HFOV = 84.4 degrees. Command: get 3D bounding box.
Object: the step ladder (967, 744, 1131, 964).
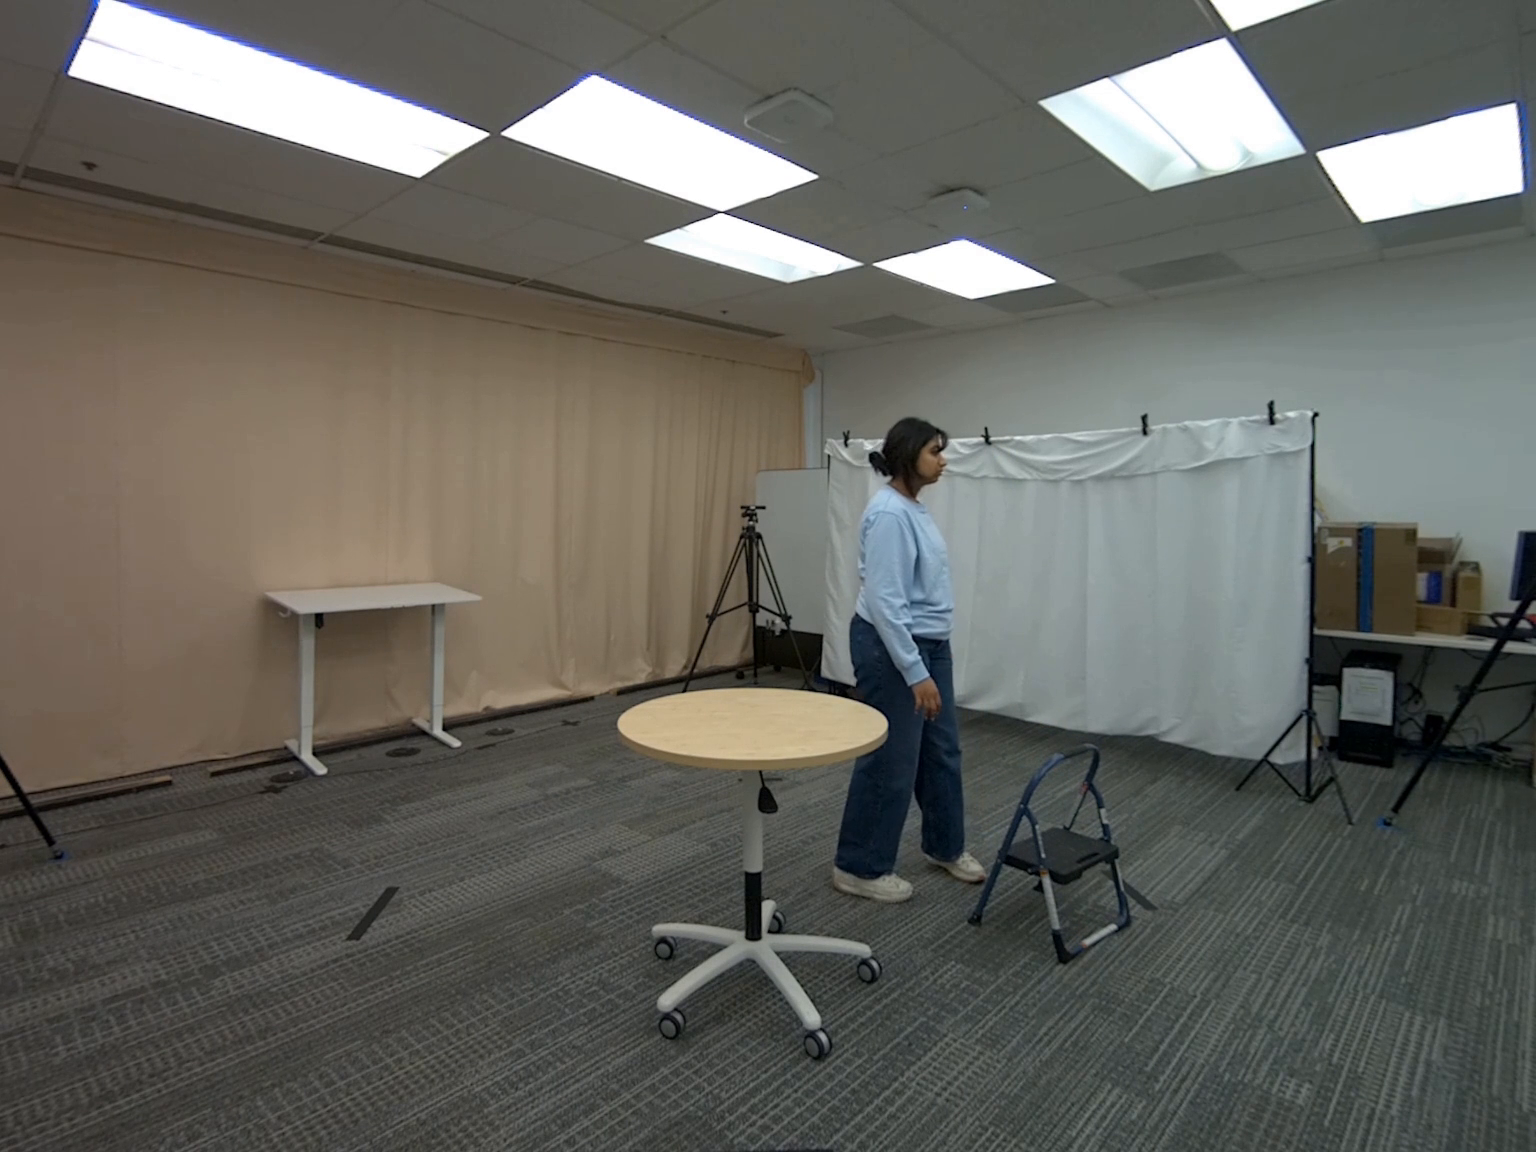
[{"bbox_3d":[0.950,0.855,2.786,0.417,0.605,0.361,-2,4,-40],"label":"step ladder"}]
